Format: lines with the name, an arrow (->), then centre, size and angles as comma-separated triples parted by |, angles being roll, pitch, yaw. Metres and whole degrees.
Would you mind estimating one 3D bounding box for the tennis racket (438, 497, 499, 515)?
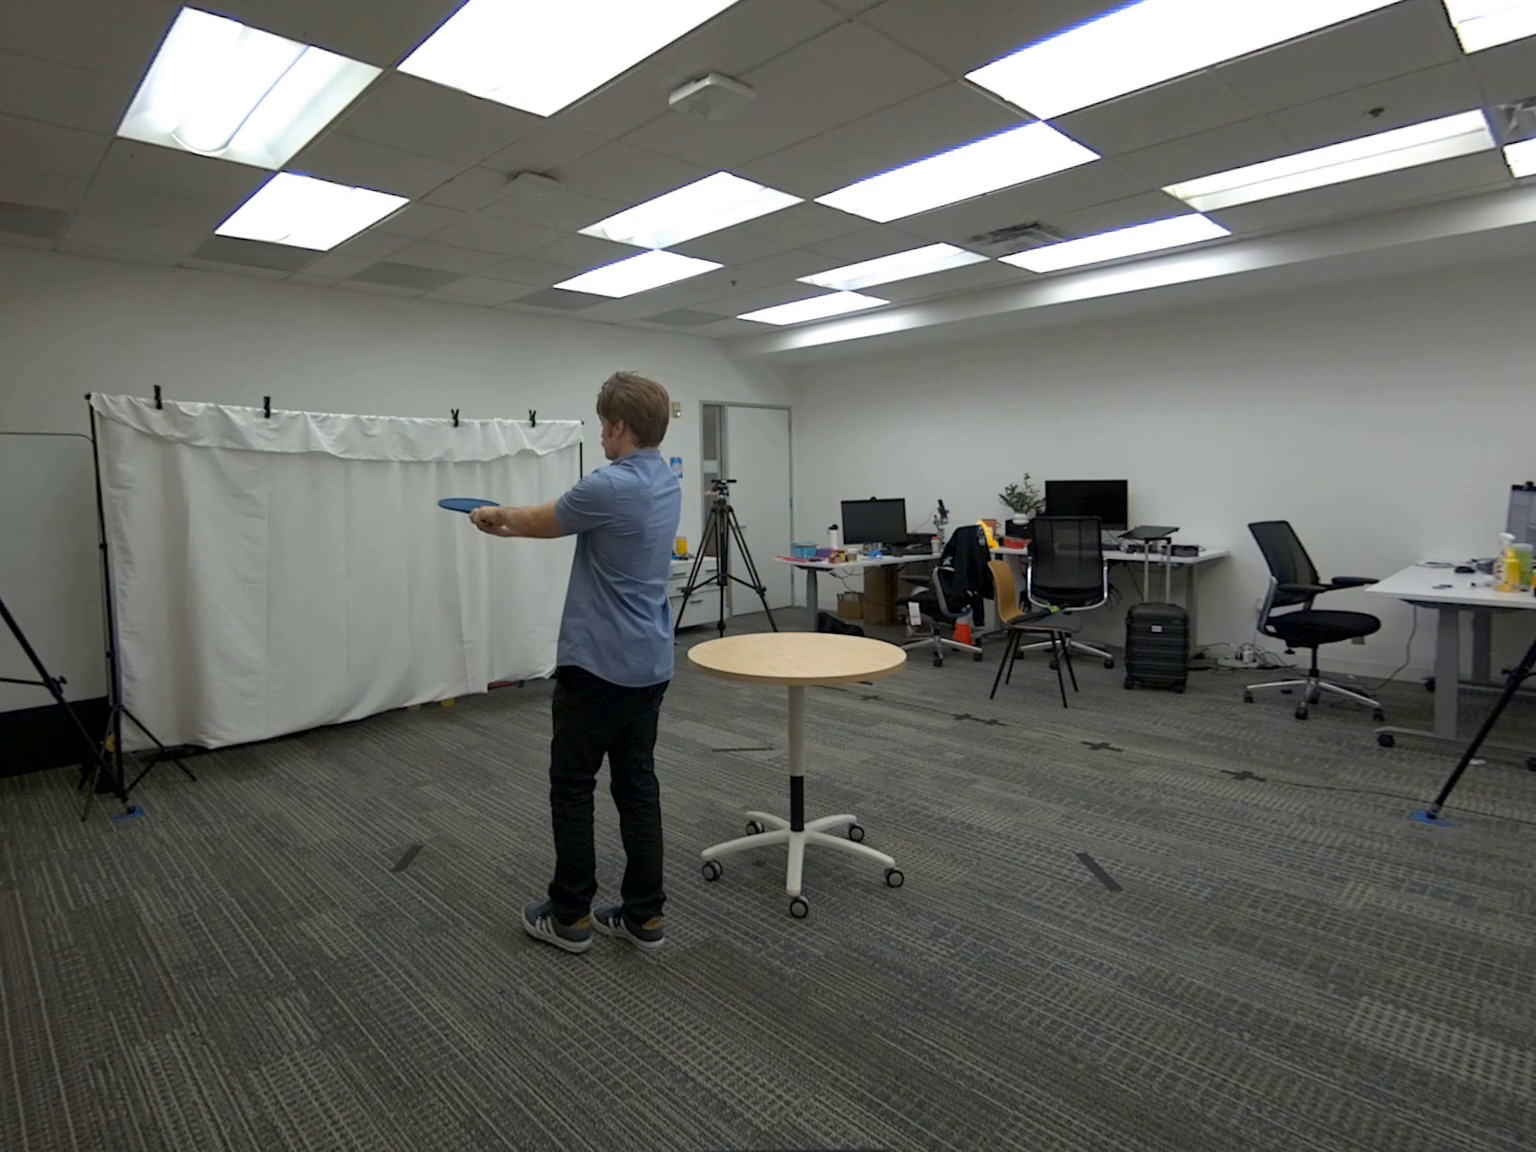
tennis racket -> -1.028, -0.234, 2.941 | 0.210, 0.031, 0.444 | 4, 12, -19
